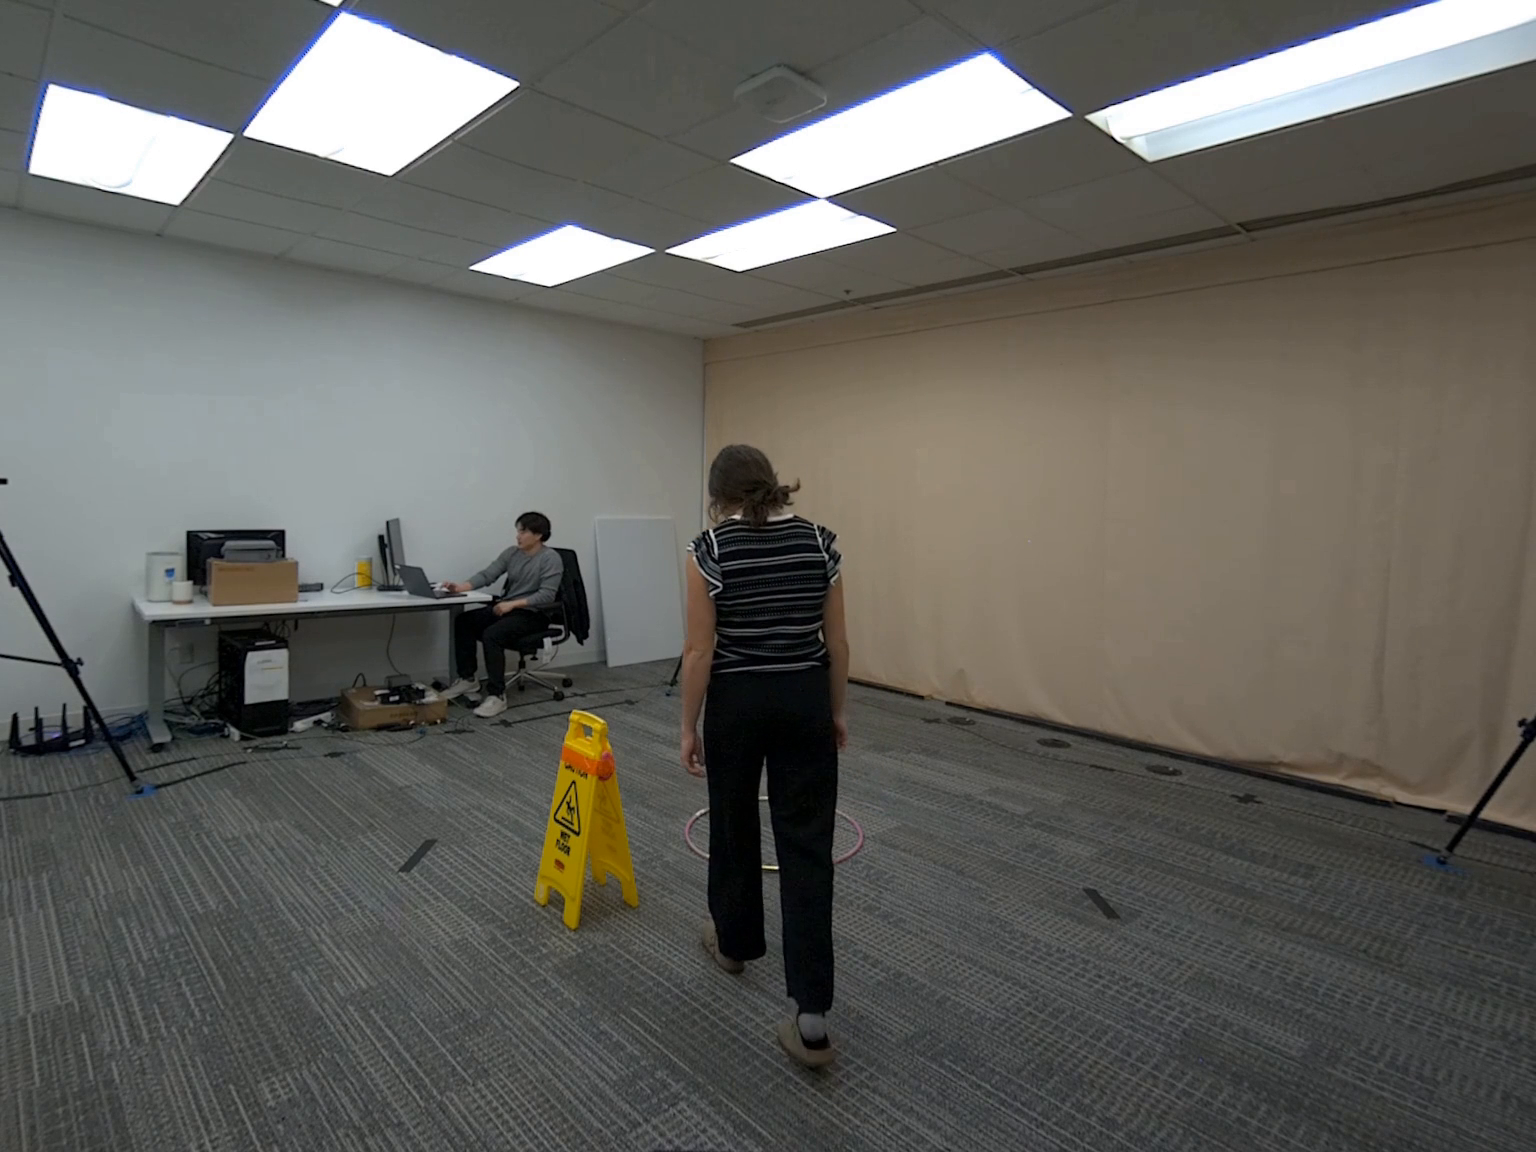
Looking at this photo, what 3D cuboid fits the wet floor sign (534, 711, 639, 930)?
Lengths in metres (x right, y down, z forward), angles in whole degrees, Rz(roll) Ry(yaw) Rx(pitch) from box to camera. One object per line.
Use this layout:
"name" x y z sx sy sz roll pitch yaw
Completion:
"wet floor sign" -0.619 0.794 2.858 0.283 0.645 0.289 0 4 -42
